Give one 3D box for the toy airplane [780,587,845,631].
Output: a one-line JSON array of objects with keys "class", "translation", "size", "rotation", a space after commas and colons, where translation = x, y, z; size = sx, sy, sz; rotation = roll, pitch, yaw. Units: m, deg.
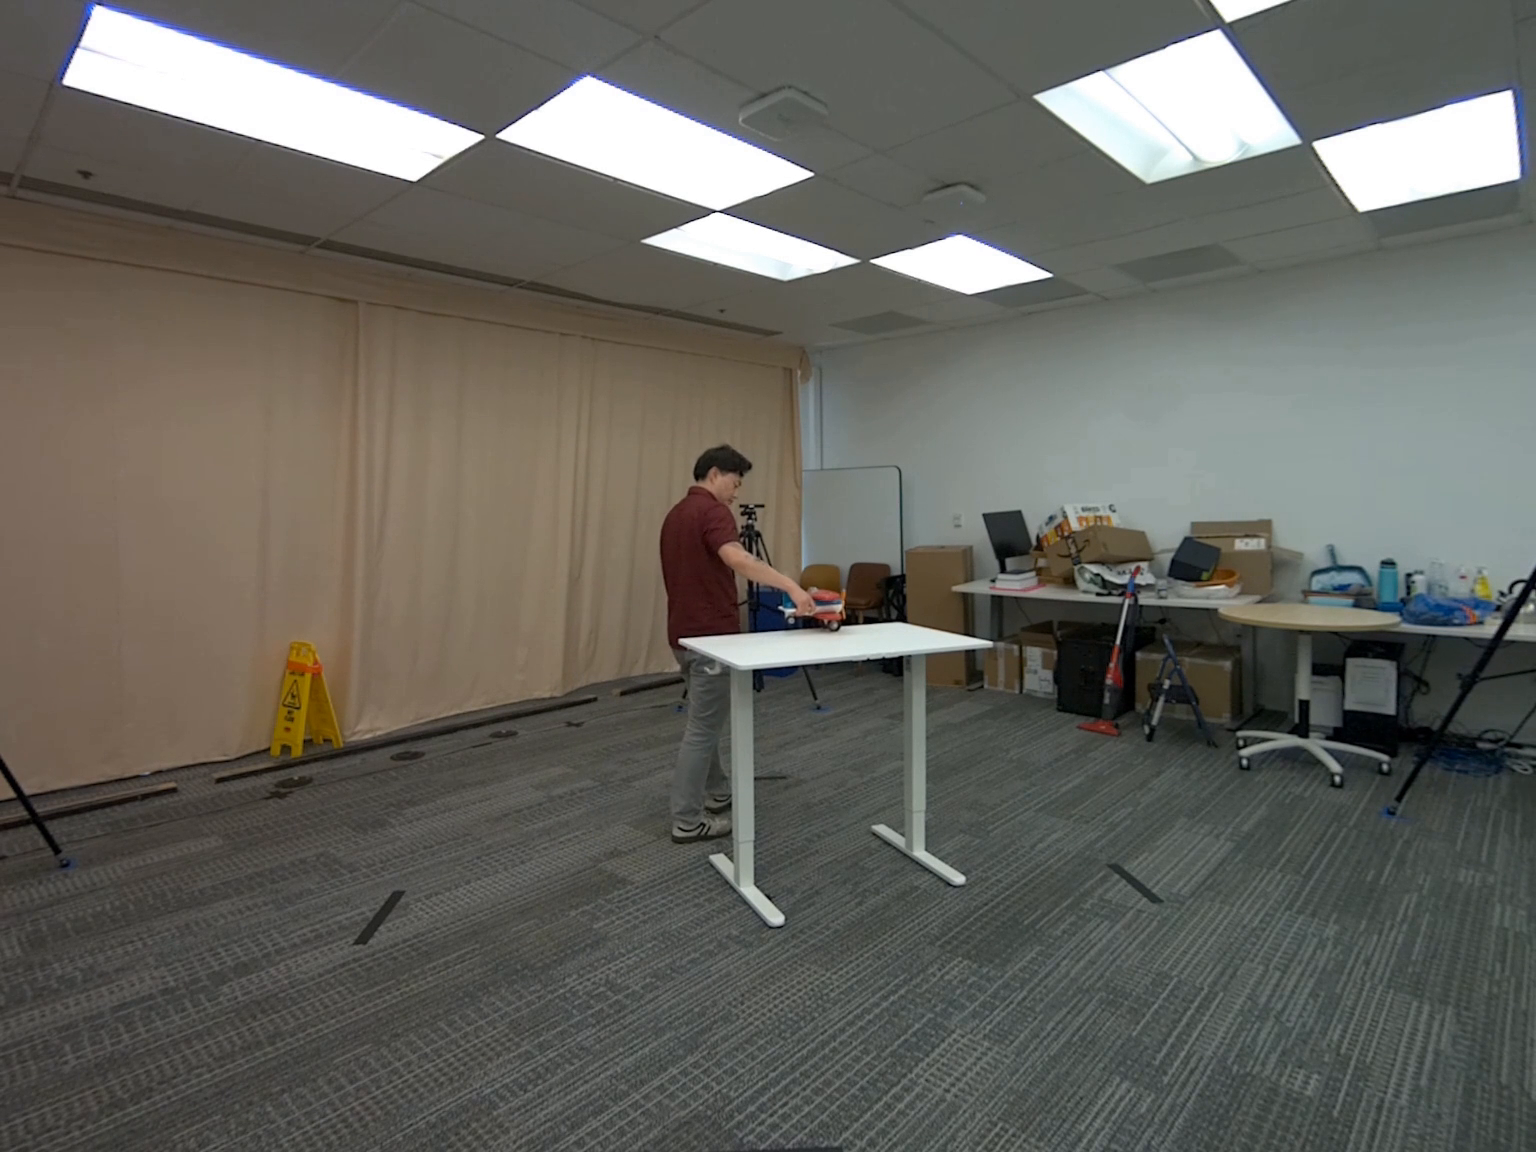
[{"class": "toy airplane", "translation": [0.191, 0.129, 3.366], "size": [0.250, 0.156, 0.260], "rotation": [11, 1, -41]}]
